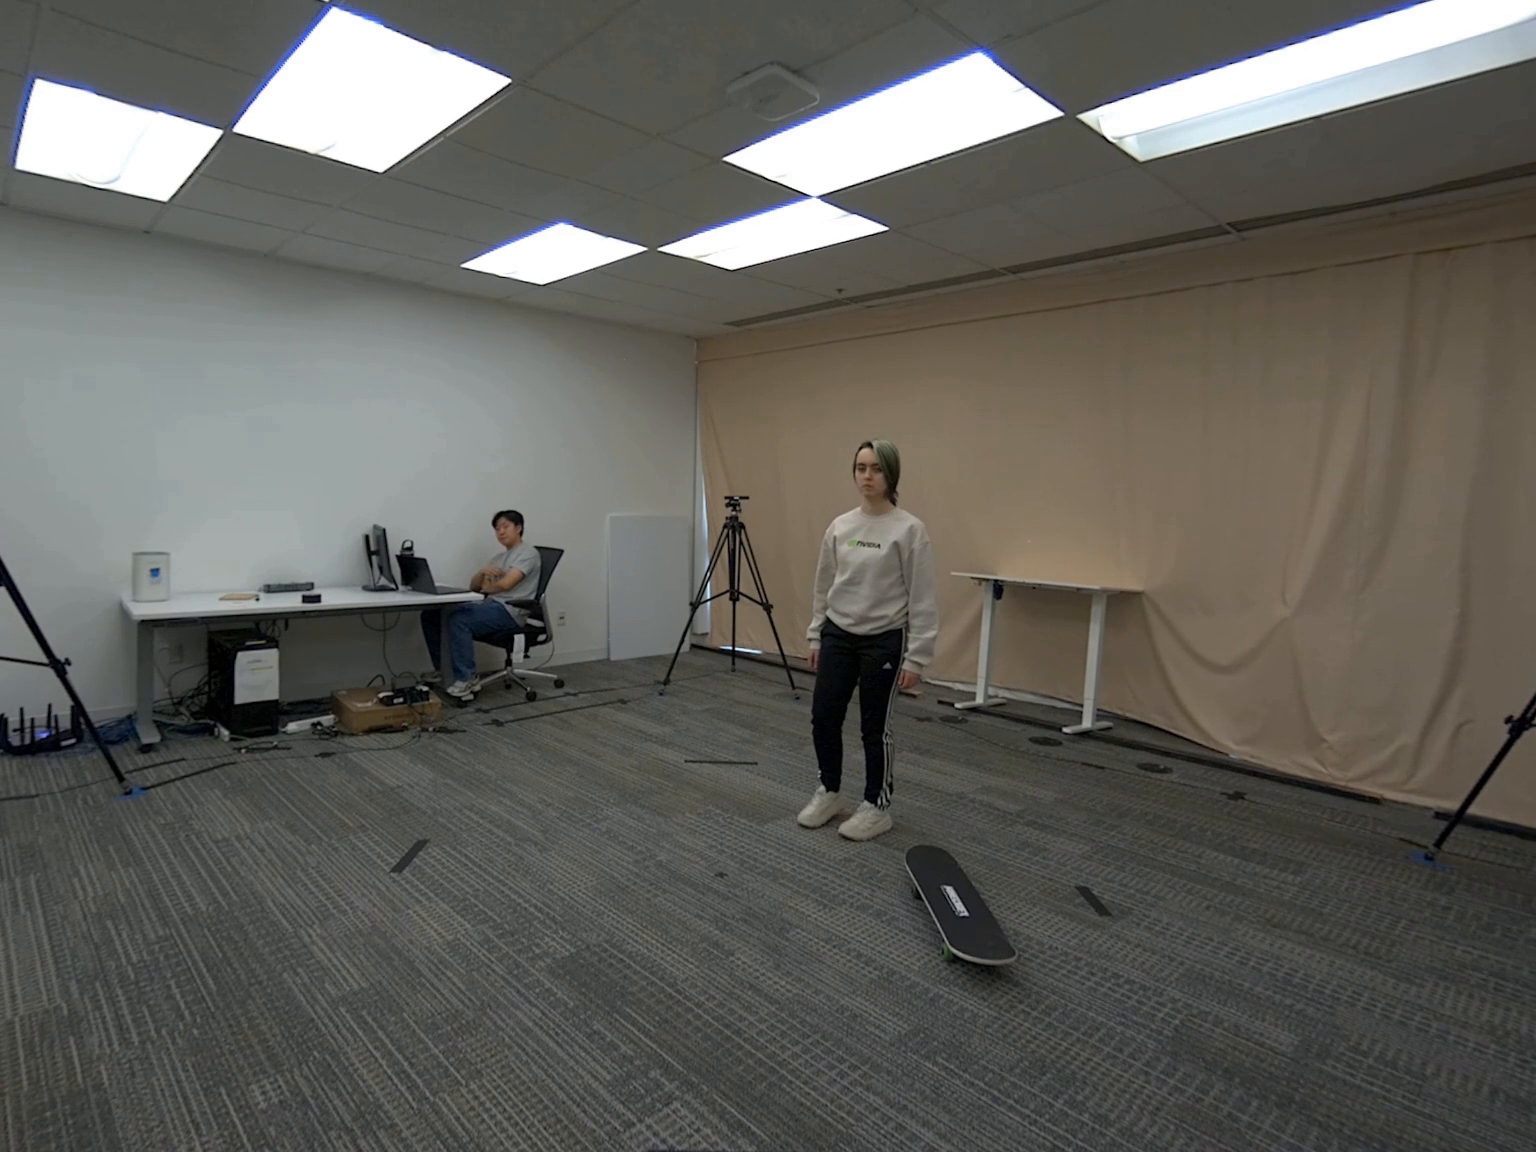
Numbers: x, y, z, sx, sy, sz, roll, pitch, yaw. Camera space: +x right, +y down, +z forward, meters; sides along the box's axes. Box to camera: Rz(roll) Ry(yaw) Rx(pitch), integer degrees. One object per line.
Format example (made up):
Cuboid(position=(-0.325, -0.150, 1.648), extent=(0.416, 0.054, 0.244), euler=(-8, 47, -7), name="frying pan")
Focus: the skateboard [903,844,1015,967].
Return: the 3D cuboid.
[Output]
Cuboid(position=(0.601, 1.098, 2.762), extent=(0.193, 0.110, 0.789), euler=(2, 6, -4), name="skateboard")
